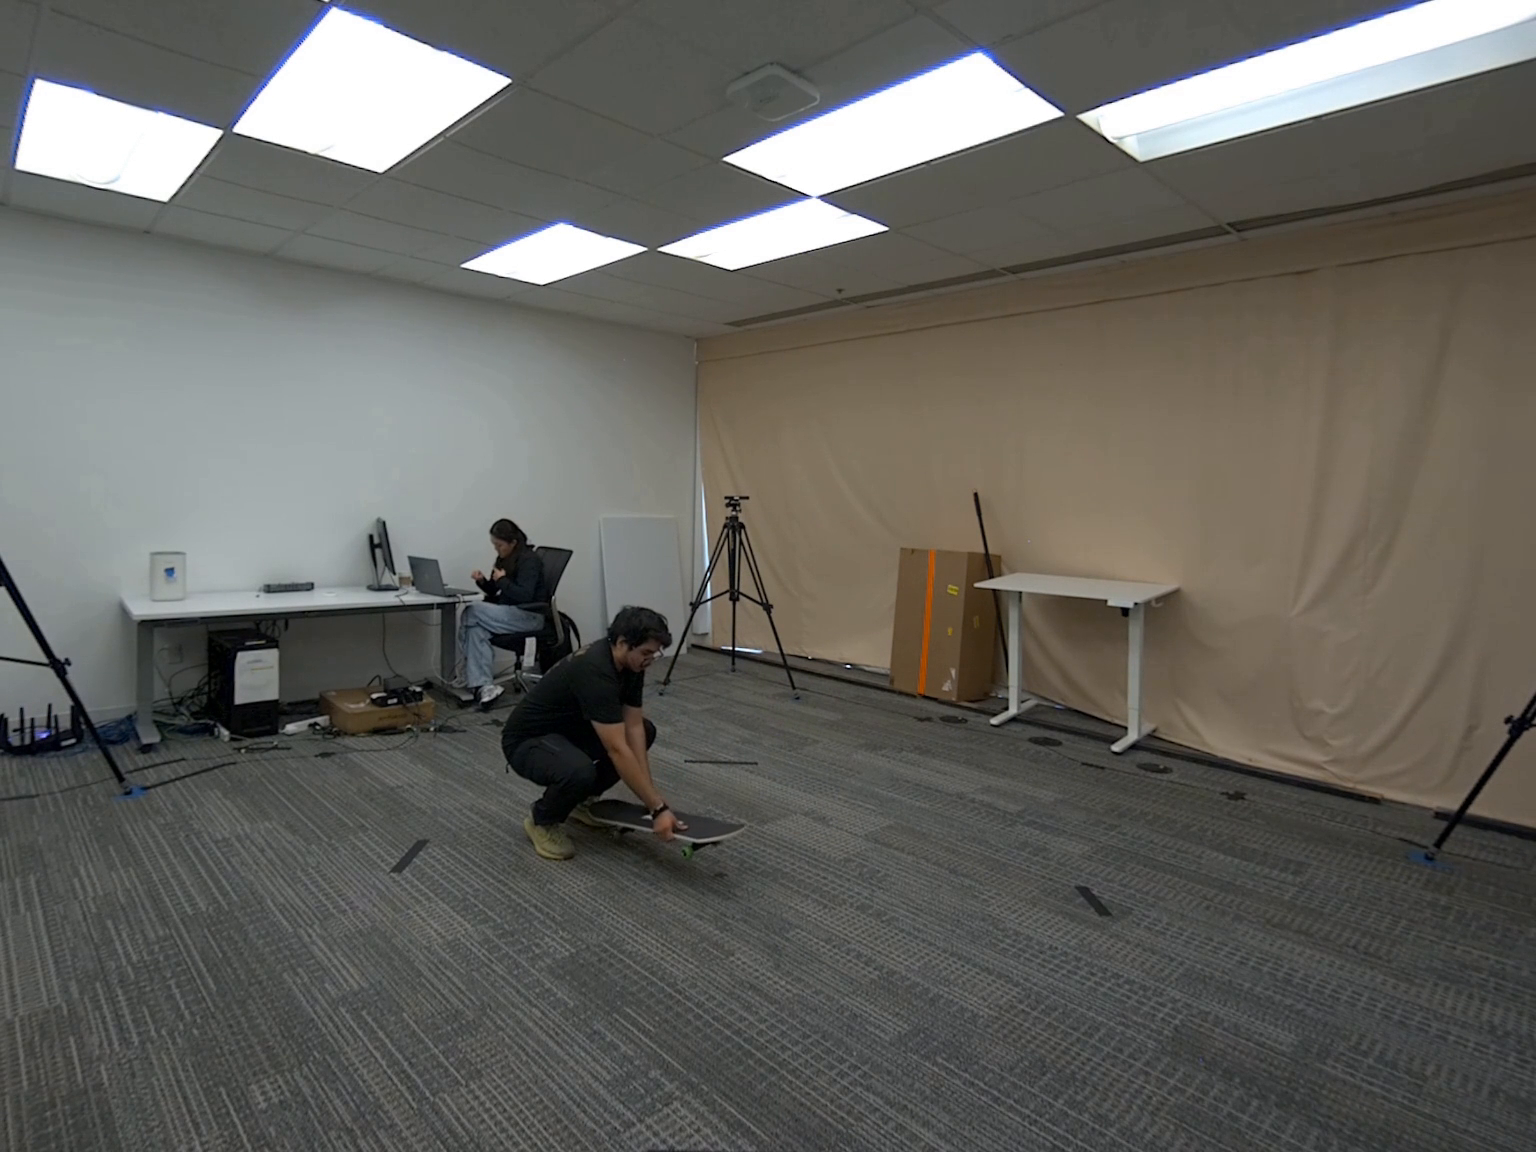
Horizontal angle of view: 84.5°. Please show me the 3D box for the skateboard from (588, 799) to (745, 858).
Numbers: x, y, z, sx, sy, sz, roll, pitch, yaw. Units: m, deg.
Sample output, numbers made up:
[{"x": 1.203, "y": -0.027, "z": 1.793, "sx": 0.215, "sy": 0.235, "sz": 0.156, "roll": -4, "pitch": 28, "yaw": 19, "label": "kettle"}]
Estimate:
[{"x": -0.411, "y": 0.973, "z": 3.219, "sx": 0.802, "sy": 0.110, "sz": 0.189, "roll": -4, "pitch": 3, "yaw": 41, "label": "skateboard"}]
